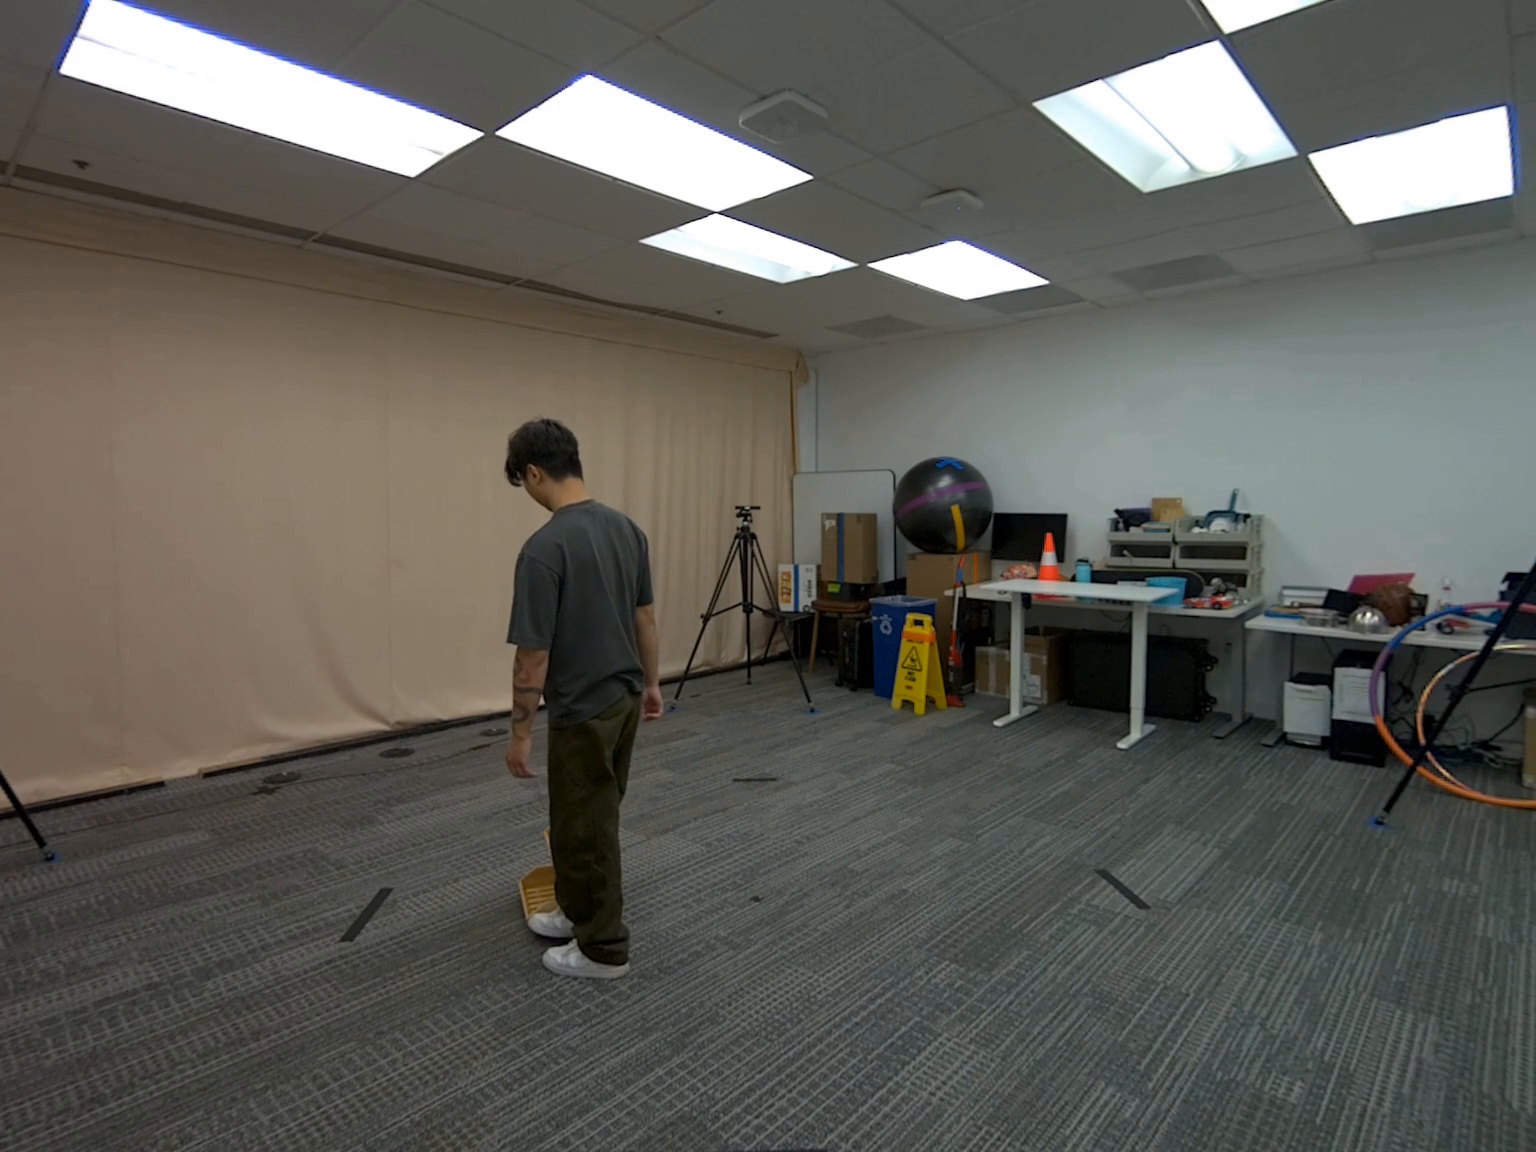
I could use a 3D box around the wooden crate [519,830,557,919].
[{"bbox_3d":[-0.714,1.022,2.932,0.296,0.272,0.332,-2,4,-20],"label":"wooden crate"}]
